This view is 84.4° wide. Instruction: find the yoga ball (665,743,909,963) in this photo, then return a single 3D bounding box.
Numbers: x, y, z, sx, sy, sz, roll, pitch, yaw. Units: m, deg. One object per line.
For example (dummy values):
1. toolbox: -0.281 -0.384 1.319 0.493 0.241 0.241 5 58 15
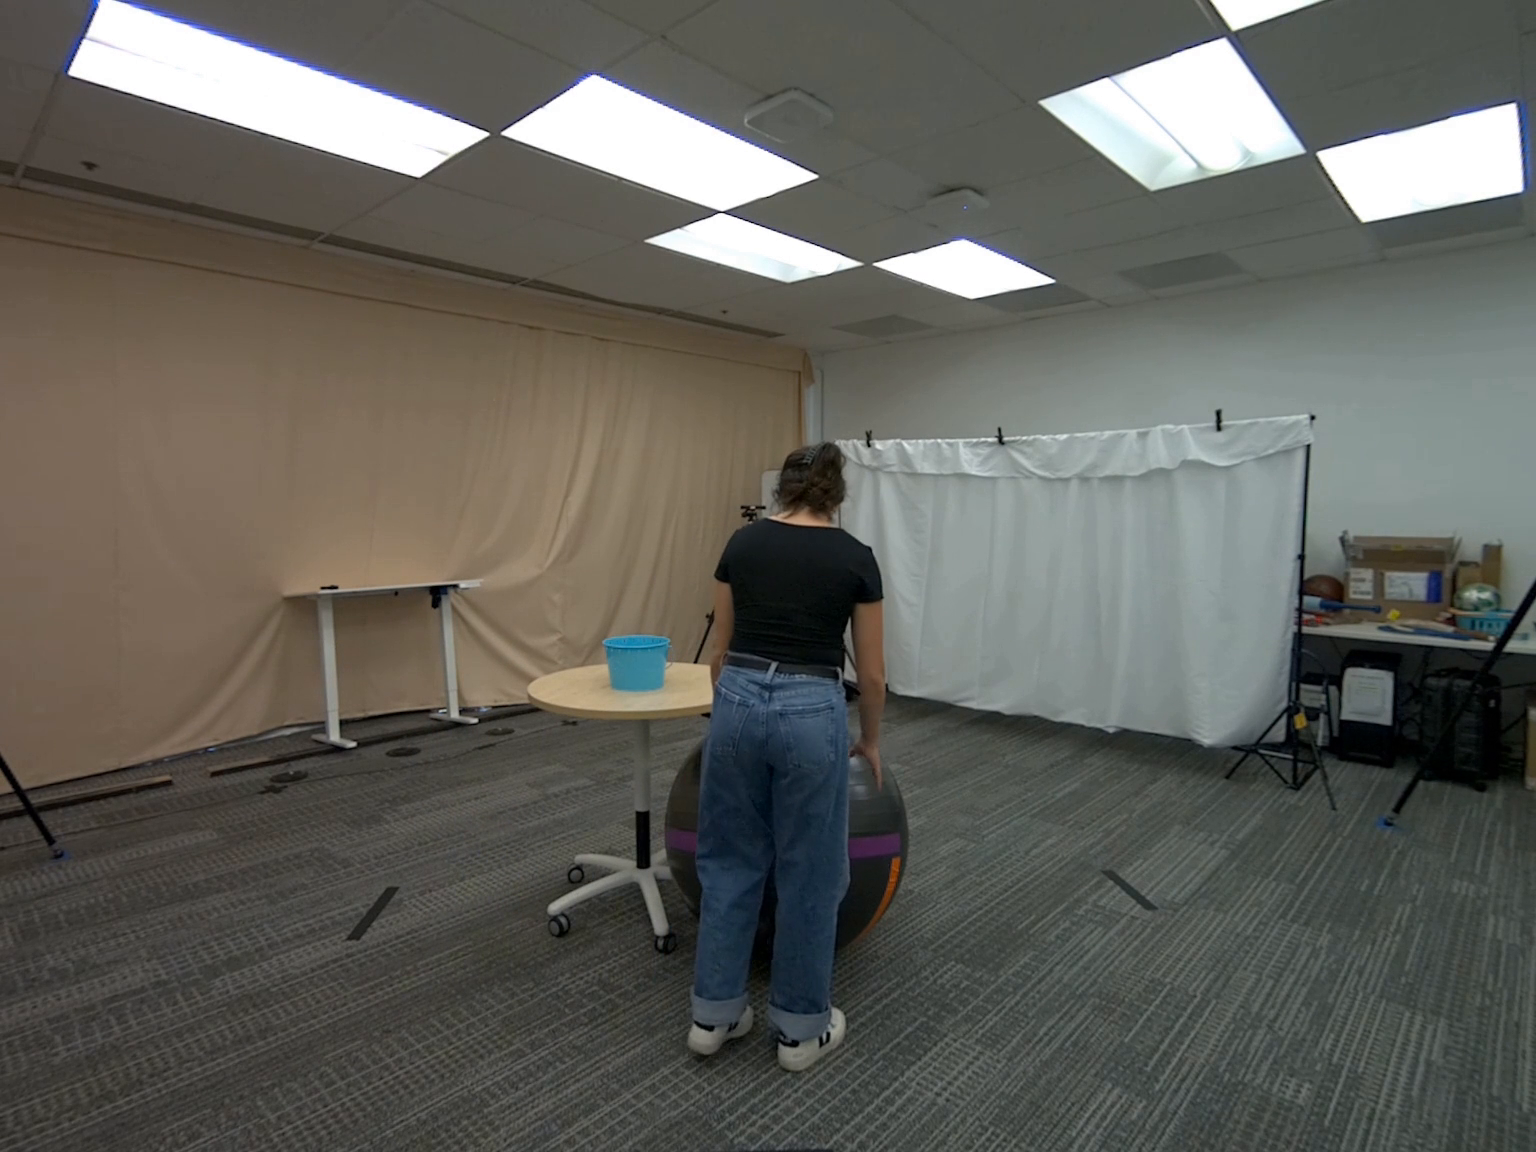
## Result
1. yoga ball: 0.056 0.805 2.644 0.757 0.756 0.760 0 4 -2
